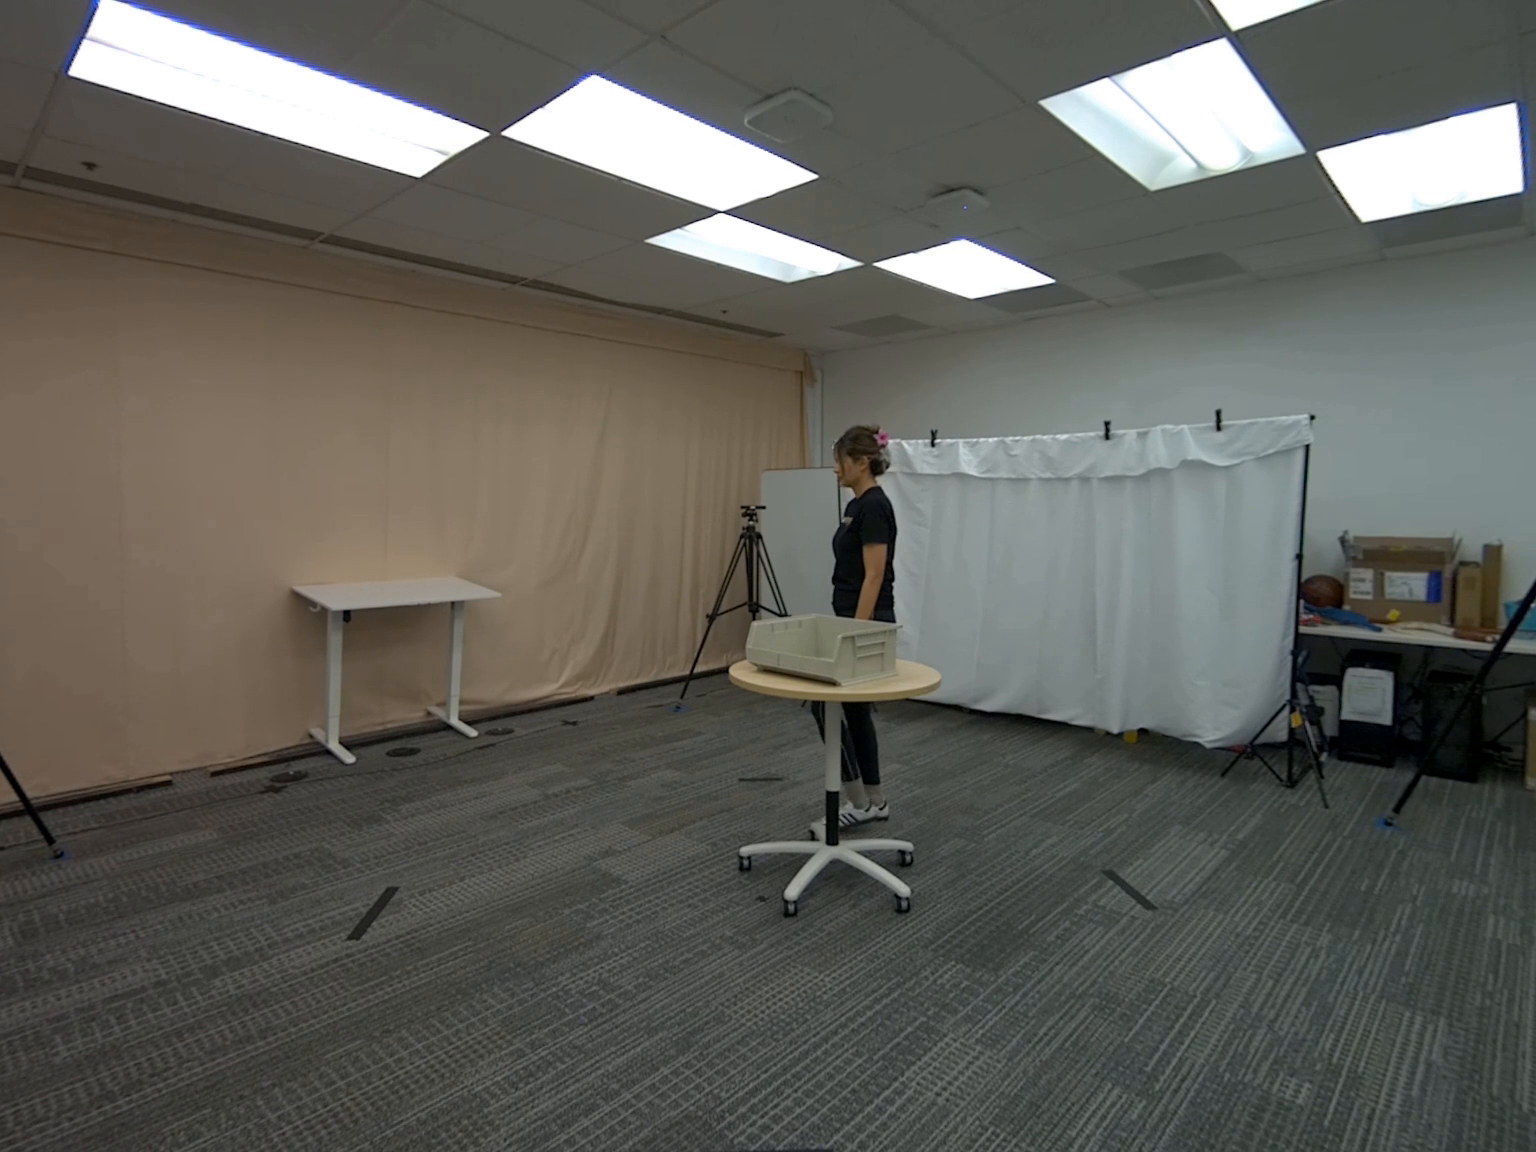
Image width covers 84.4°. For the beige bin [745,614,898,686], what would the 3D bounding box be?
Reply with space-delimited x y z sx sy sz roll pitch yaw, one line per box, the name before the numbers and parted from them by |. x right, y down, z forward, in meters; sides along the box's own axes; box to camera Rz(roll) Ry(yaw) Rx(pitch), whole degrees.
beige bin | 0.202 0.264 3.040 0.365 0.188 0.436 -3 5 -44
